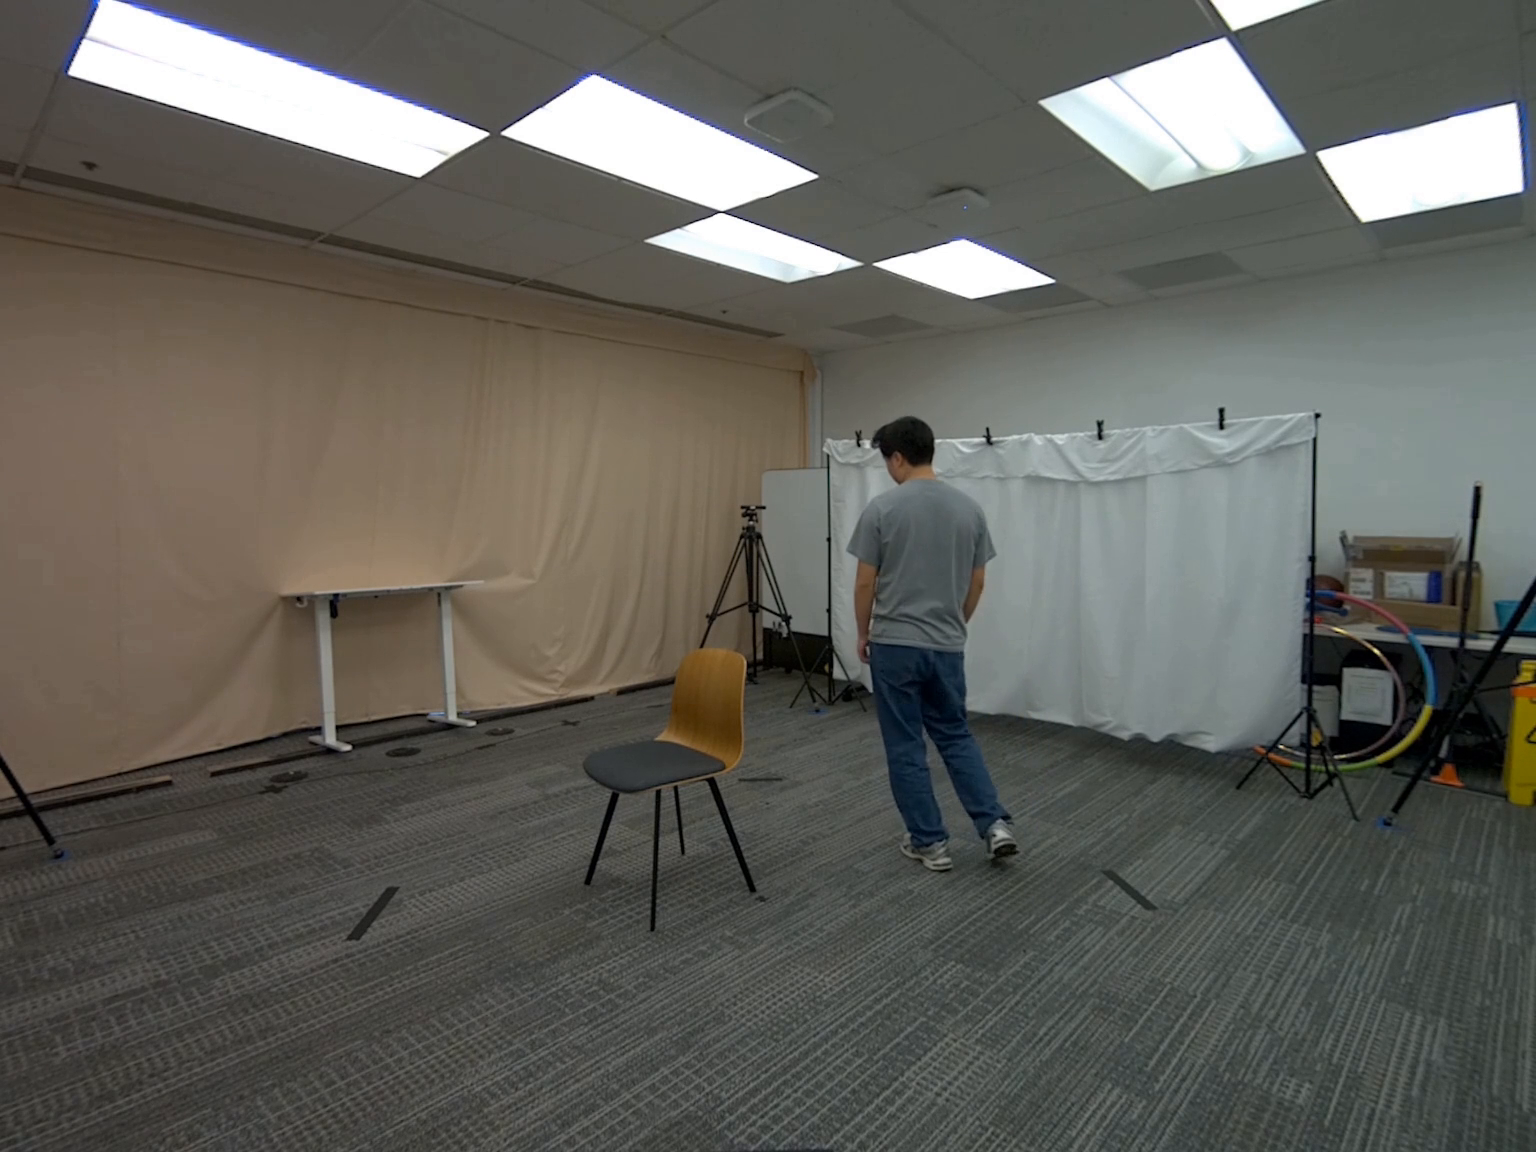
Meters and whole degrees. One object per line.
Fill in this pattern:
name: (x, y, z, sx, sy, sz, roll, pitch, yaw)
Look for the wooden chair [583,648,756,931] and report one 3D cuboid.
wooden chair: (-0.368, 0.715, 3.033, 0.506, 0.877, 0.494, 3, 1, -40)
